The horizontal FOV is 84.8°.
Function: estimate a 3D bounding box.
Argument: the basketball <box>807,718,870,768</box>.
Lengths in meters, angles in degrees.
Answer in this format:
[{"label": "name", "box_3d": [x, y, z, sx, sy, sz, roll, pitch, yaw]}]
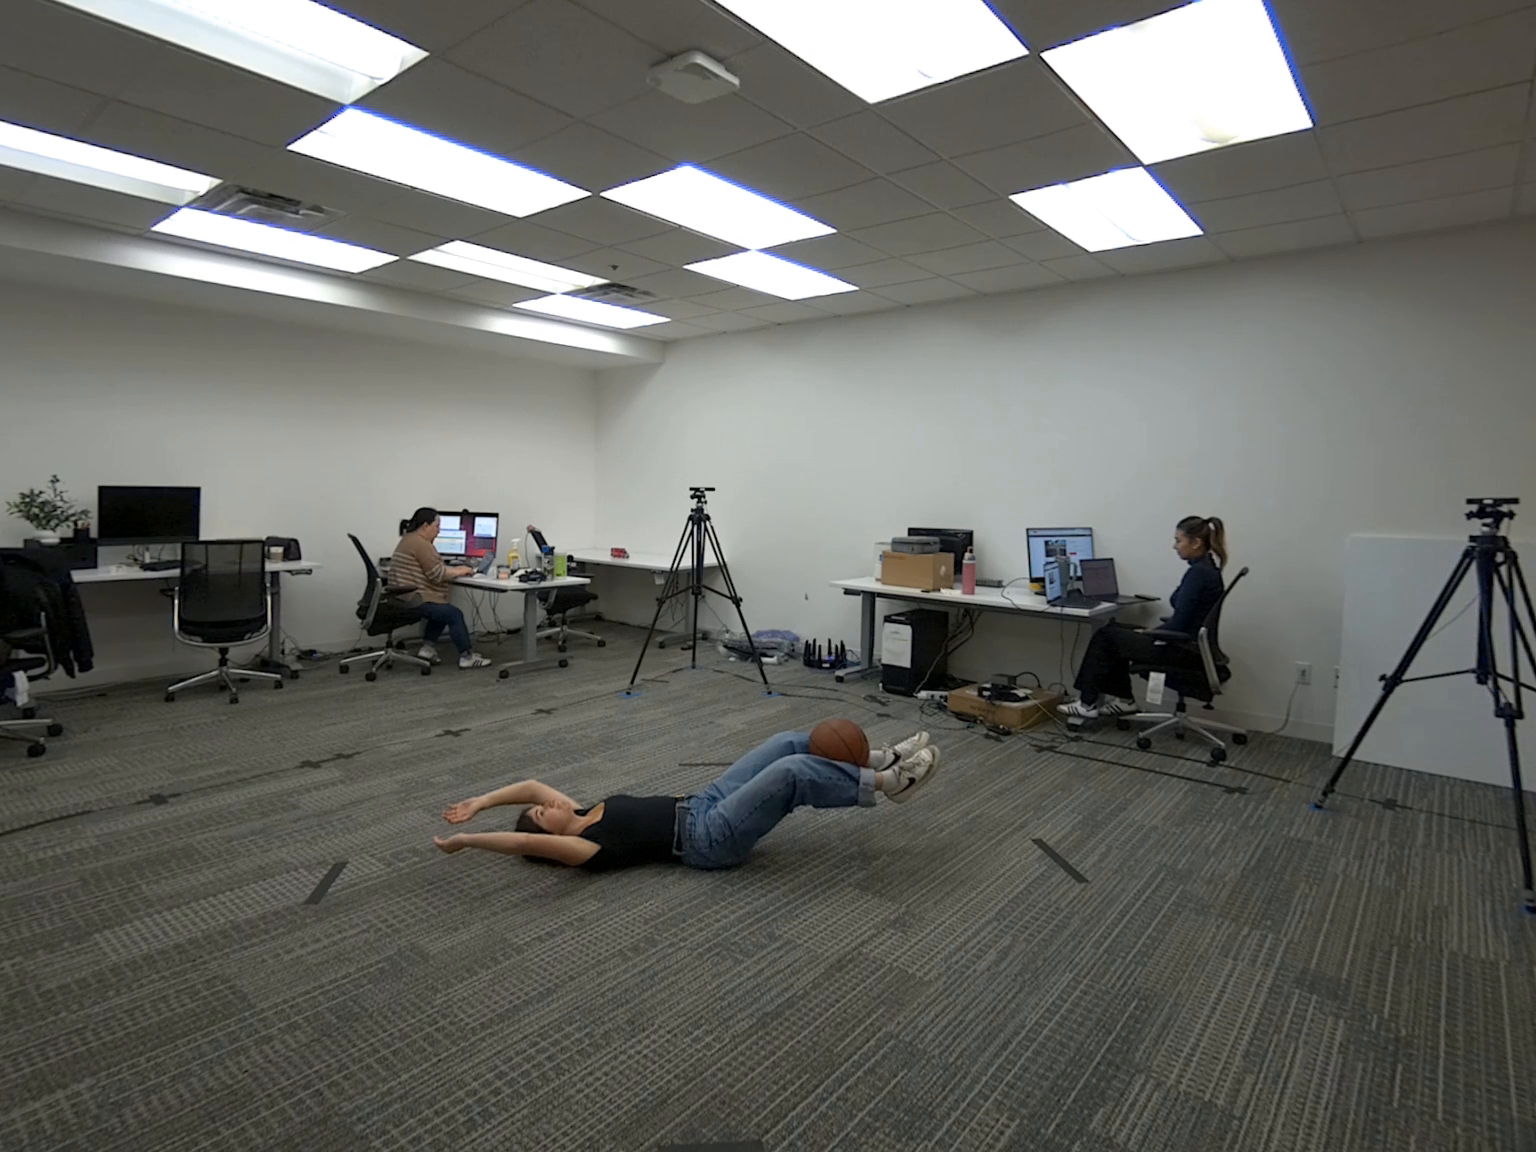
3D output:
[{"label": "basketball", "box_3d": [0.259, 0.661, 3.272, 0.235, 0.235, 0.237, 1, 4, -2]}]
